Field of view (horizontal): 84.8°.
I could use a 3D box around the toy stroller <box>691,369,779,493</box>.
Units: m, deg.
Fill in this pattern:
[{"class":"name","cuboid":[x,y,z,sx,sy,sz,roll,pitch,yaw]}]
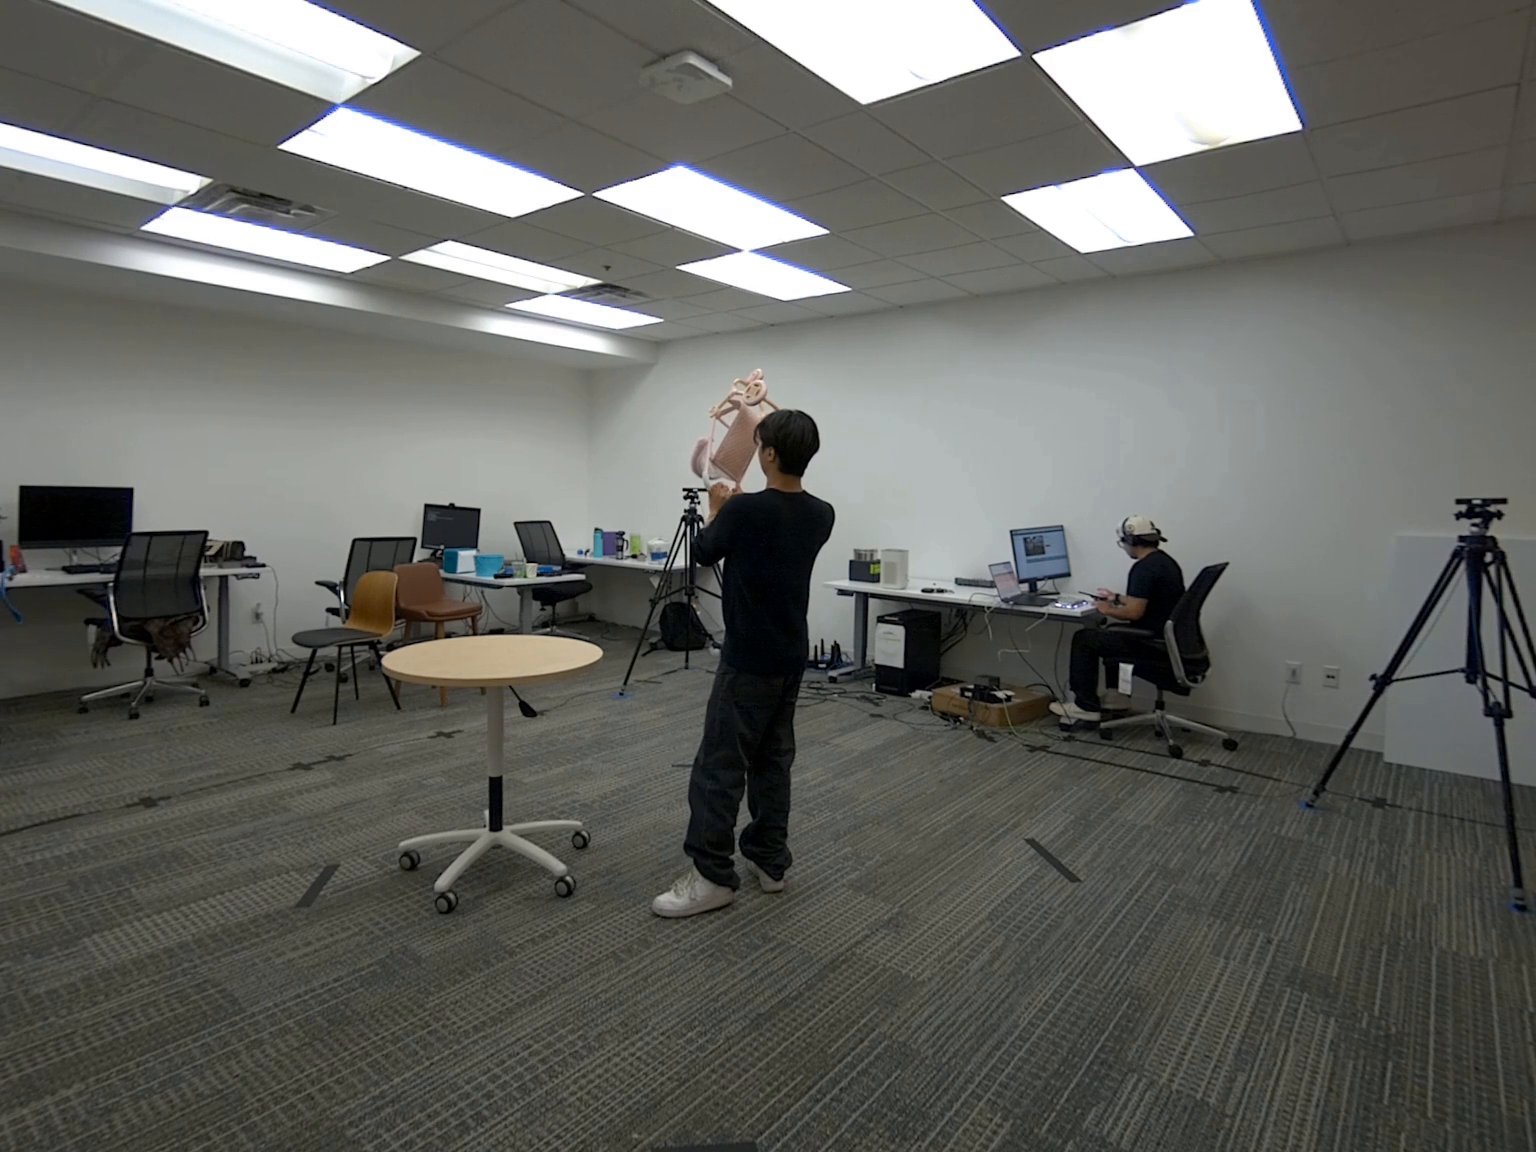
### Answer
[{"class":"toy stroller","cuboid":[-0.133,-0.580,3.406,0.270,0.534,0.356,34,5,-45]}]
